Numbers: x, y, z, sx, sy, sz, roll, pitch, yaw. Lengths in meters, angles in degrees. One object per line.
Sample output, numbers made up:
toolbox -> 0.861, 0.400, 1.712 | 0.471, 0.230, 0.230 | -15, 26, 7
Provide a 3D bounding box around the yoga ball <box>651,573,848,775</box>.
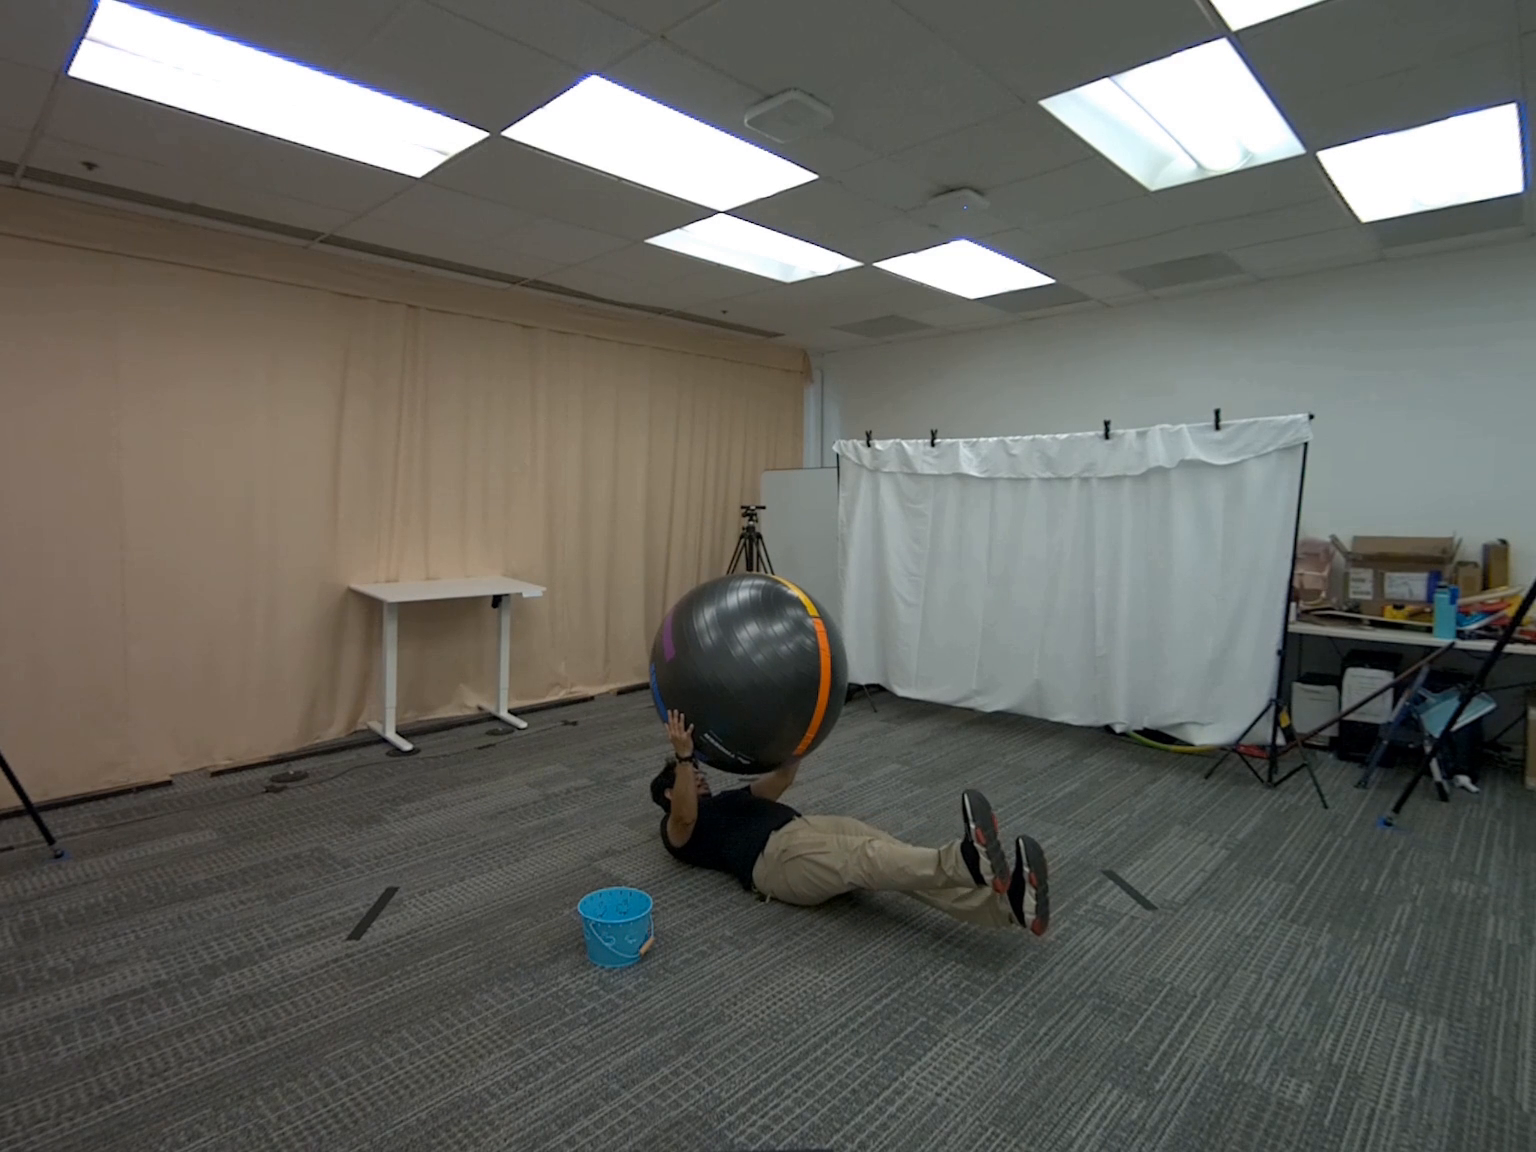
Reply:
yoga ball -> -0.071, 0.372, 3.218 | 0.757, 0.756, 0.761 | 0, 4, -2
